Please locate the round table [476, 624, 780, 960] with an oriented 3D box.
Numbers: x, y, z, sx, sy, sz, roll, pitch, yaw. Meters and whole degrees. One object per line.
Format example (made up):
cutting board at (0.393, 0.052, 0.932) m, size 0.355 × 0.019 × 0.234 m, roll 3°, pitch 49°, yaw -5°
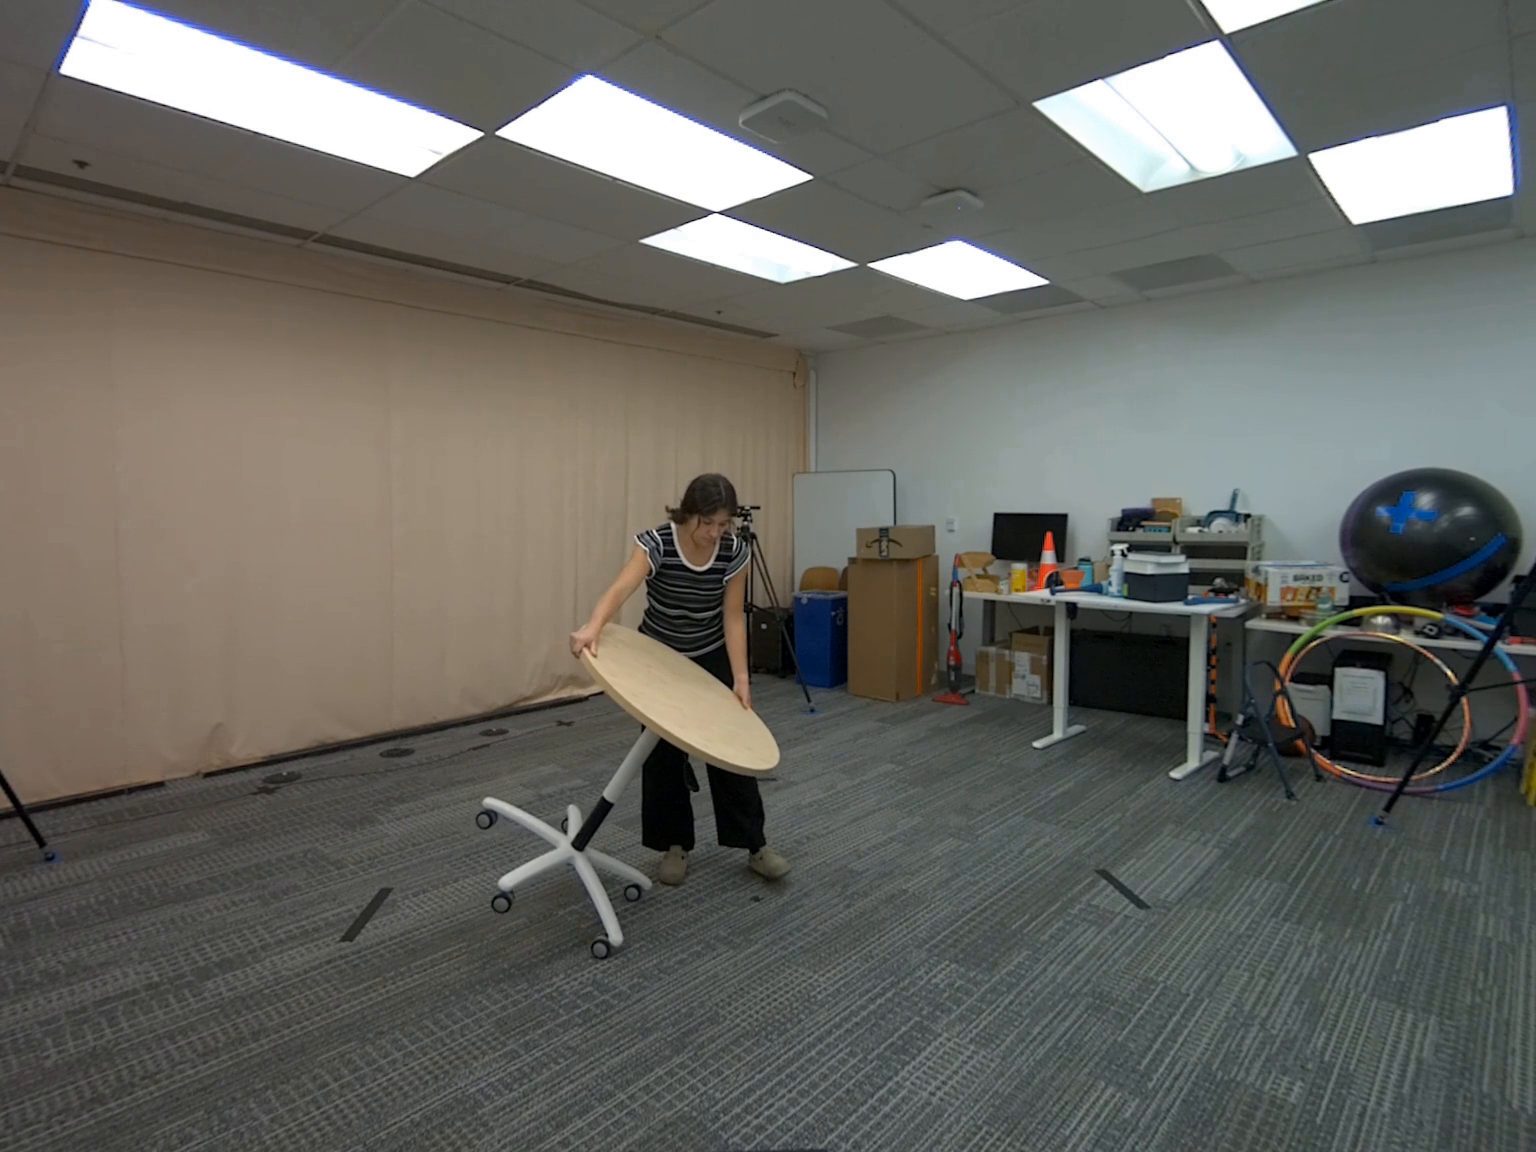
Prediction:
round table at (-0.503, 0.698, 2.775) m, size 0.759 × 0.794 × 0.769 m, roll 33°, pitch 7°, yaw -7°
